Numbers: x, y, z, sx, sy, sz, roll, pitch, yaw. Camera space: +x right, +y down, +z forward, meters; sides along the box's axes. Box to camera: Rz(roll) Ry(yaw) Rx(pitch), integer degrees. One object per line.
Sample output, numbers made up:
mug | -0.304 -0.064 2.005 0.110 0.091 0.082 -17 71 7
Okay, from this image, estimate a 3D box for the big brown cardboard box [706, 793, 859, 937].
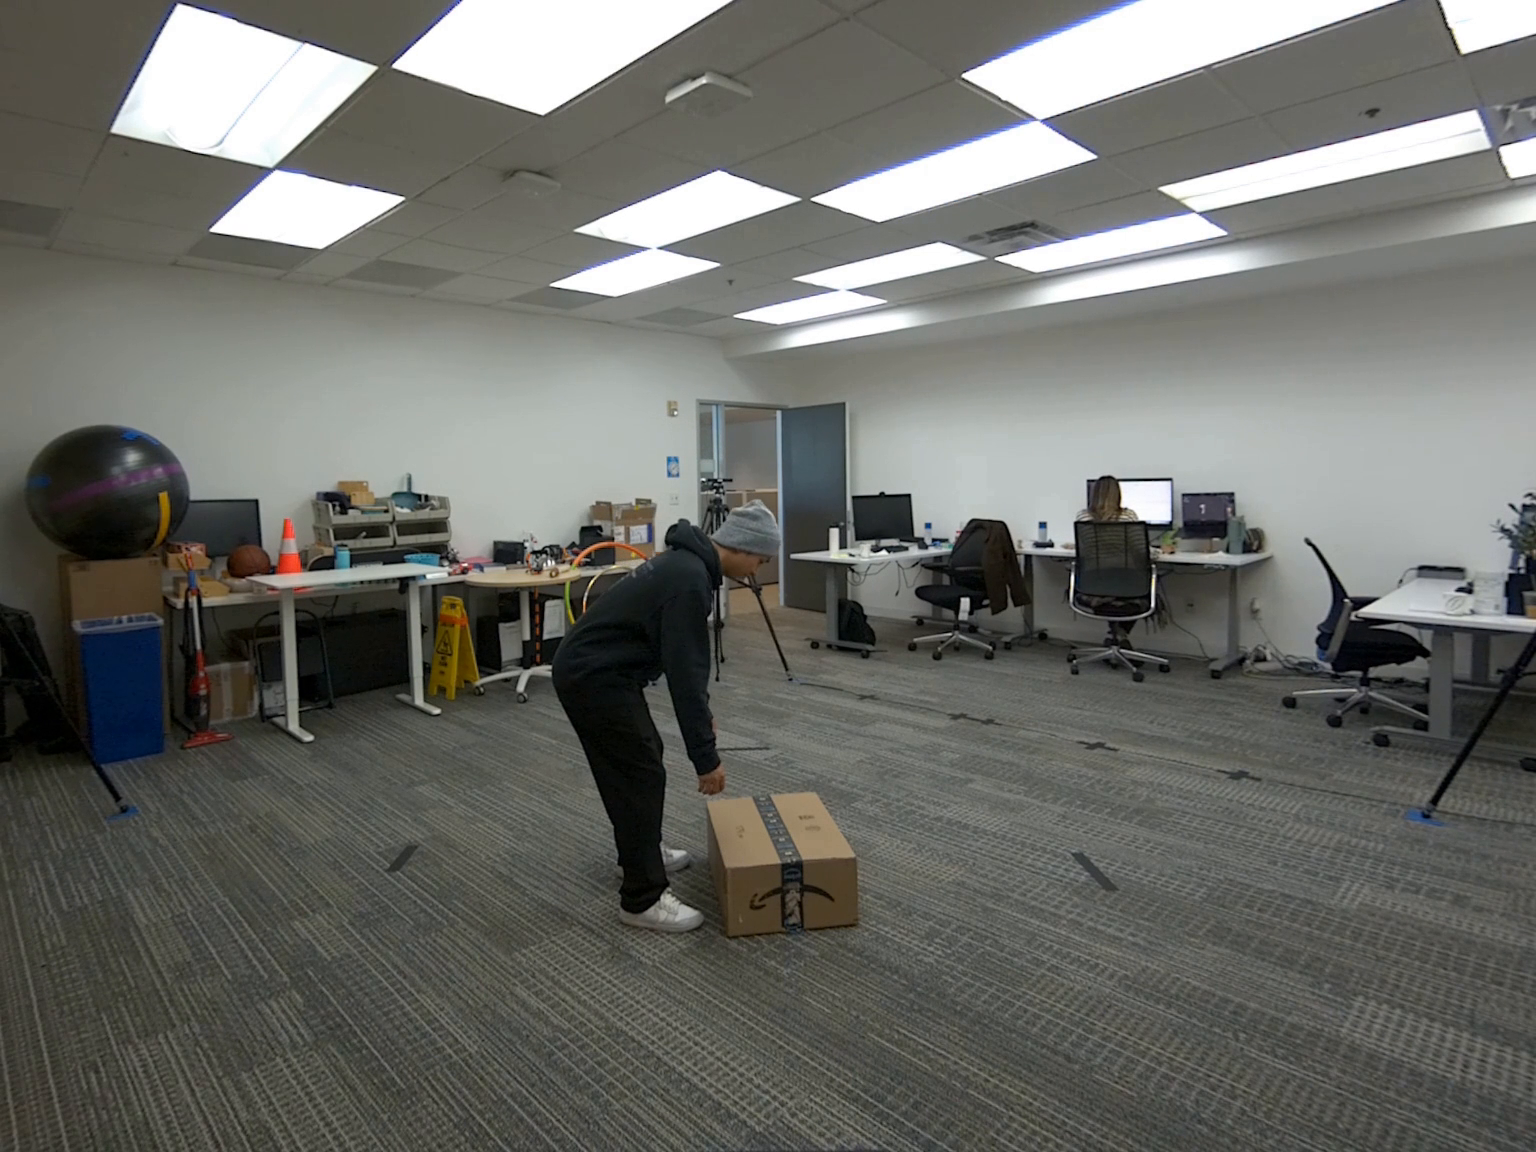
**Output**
big brown cardboard box | 0.030 0.955 2.898 0.414 0.232 0.597 -3 7 -9
